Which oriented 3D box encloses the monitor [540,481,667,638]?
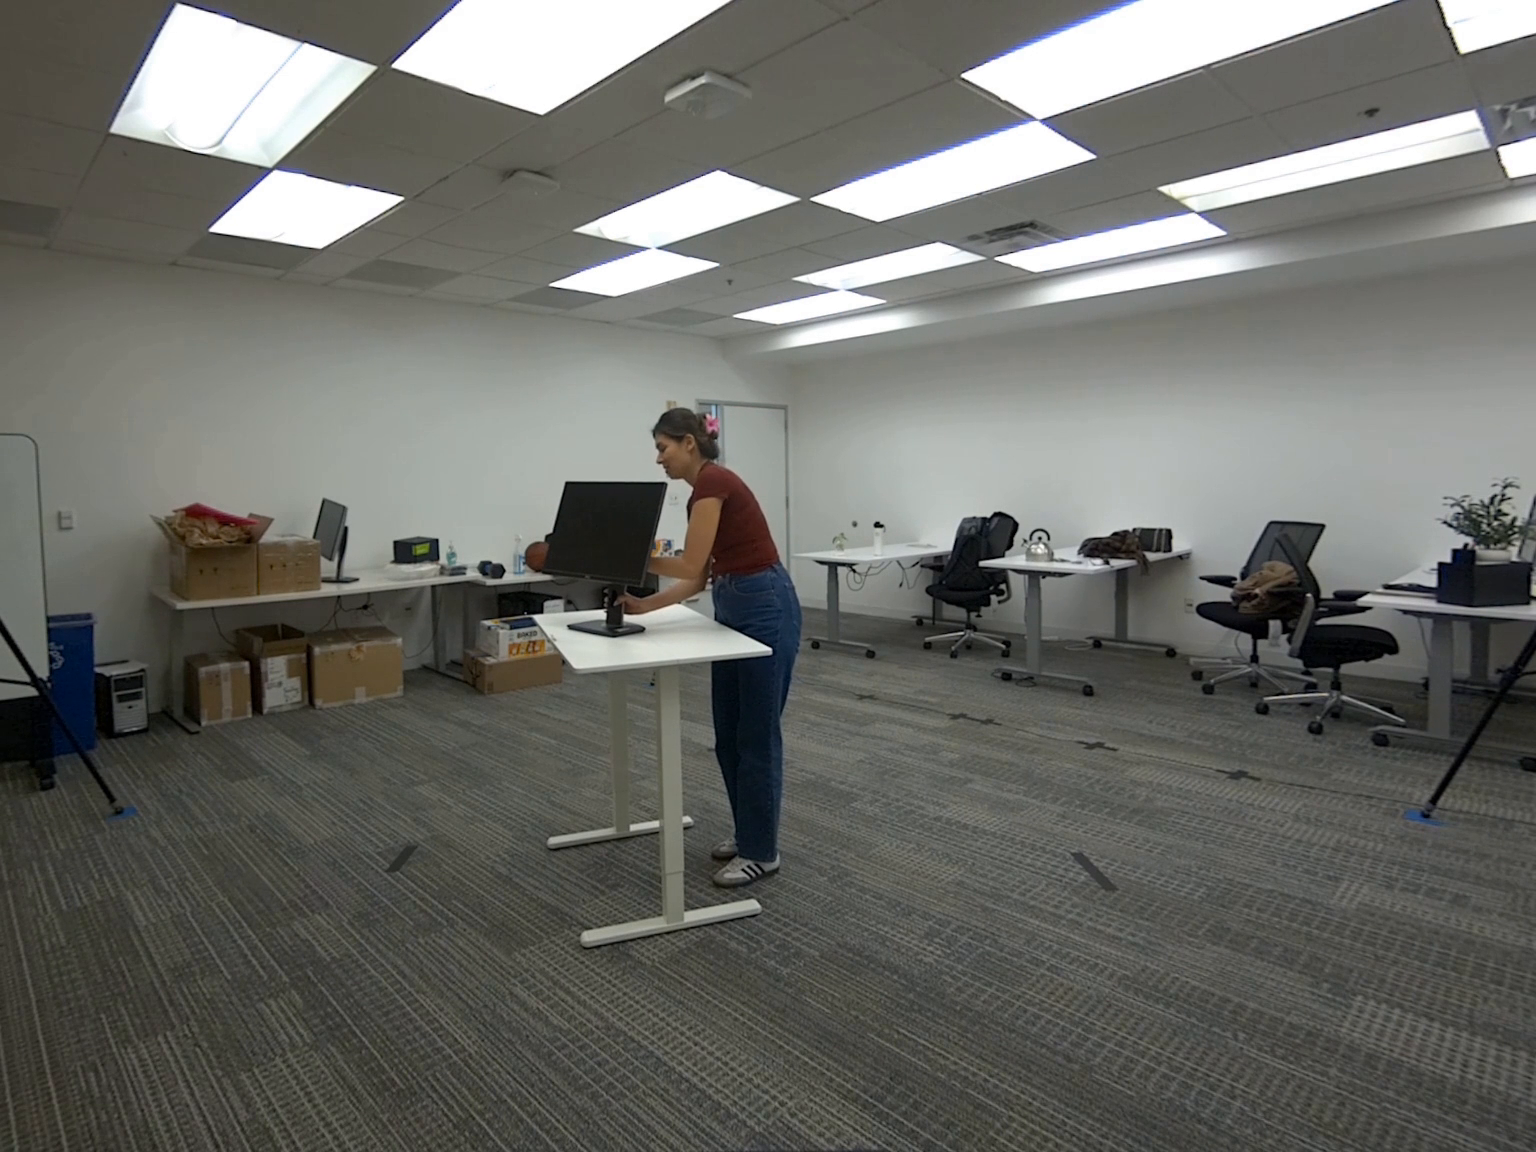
[{"bbox_3d":[-0.553,-0.065,2.961,0.556,0.521,0.182,5,3,39],"label":"monitor"}]
